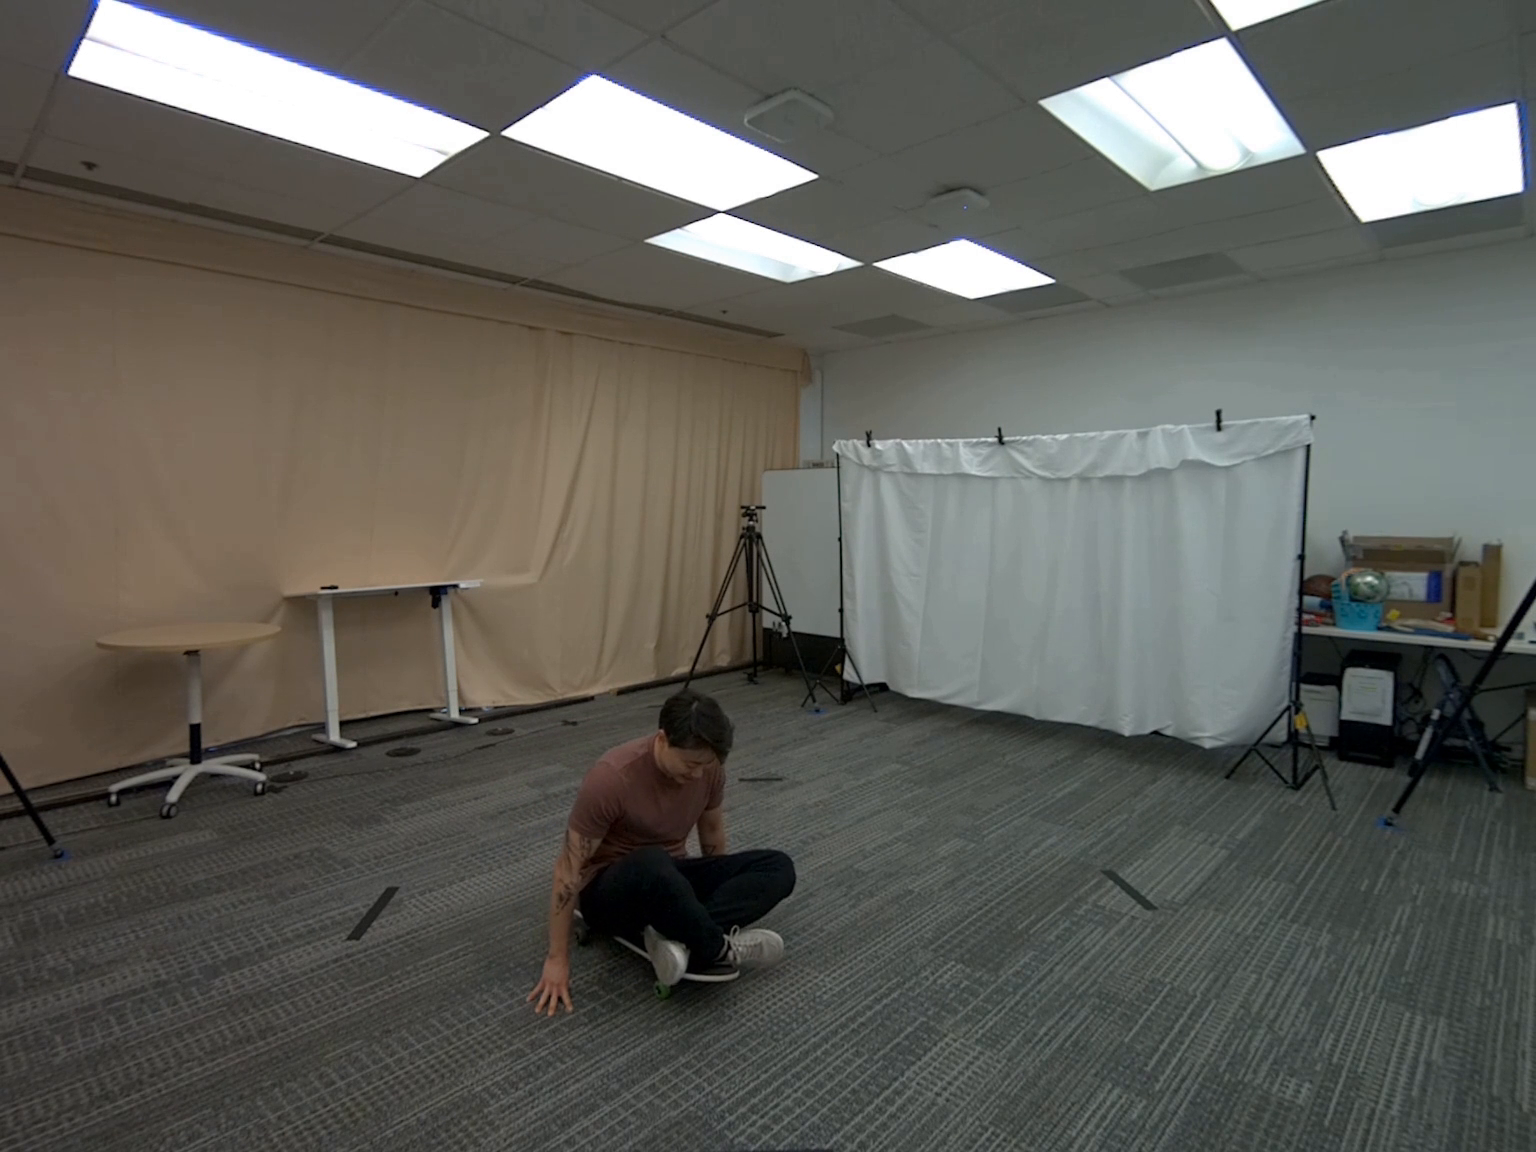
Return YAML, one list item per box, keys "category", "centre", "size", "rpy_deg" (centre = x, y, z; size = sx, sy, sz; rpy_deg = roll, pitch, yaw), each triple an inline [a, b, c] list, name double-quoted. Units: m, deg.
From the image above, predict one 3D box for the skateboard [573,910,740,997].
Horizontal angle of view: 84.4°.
- category: "skateboard"
  centre: [-0.409, 1.126, 2.573]
  size: [0.187, 0.110, 0.810]
  rpy_deg: [13, -7, -39]
